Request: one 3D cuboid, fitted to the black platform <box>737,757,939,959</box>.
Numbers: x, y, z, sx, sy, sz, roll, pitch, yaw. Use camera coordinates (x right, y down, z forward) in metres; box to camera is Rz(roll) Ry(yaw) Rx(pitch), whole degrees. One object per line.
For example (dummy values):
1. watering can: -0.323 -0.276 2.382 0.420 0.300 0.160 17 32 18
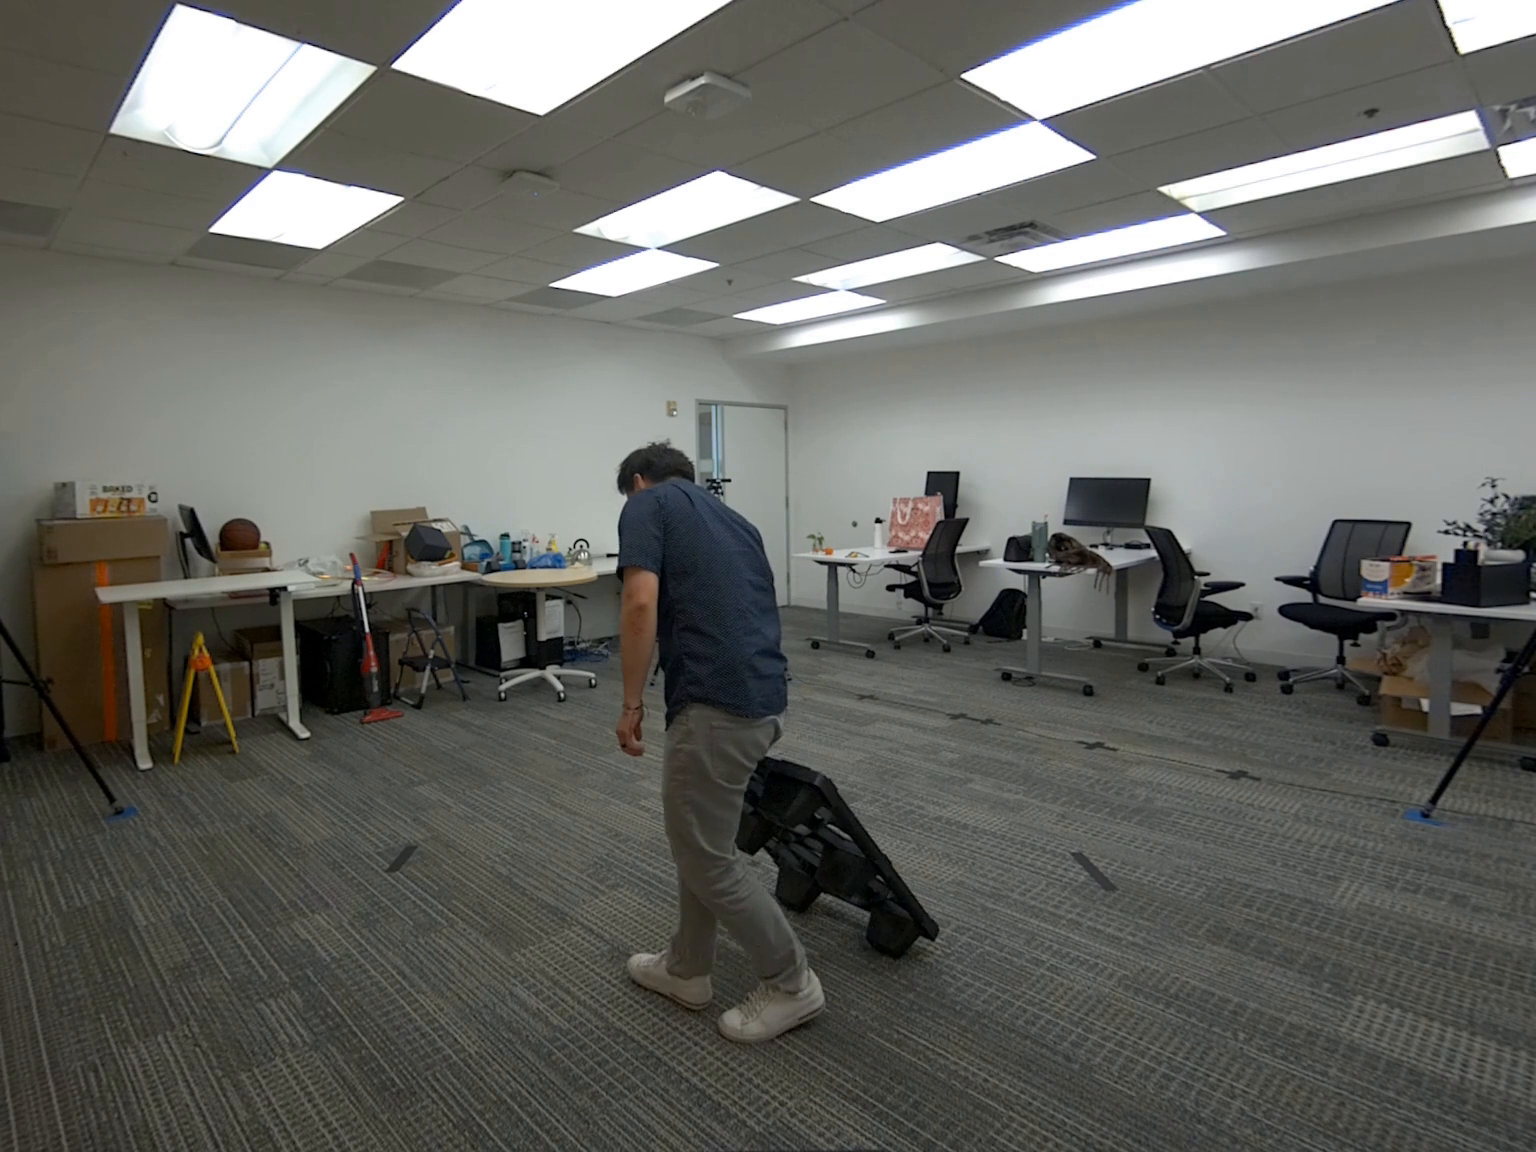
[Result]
1. black platform: 0.088 0.793 2.492 0.624 0.779 0.143 6 48 45
